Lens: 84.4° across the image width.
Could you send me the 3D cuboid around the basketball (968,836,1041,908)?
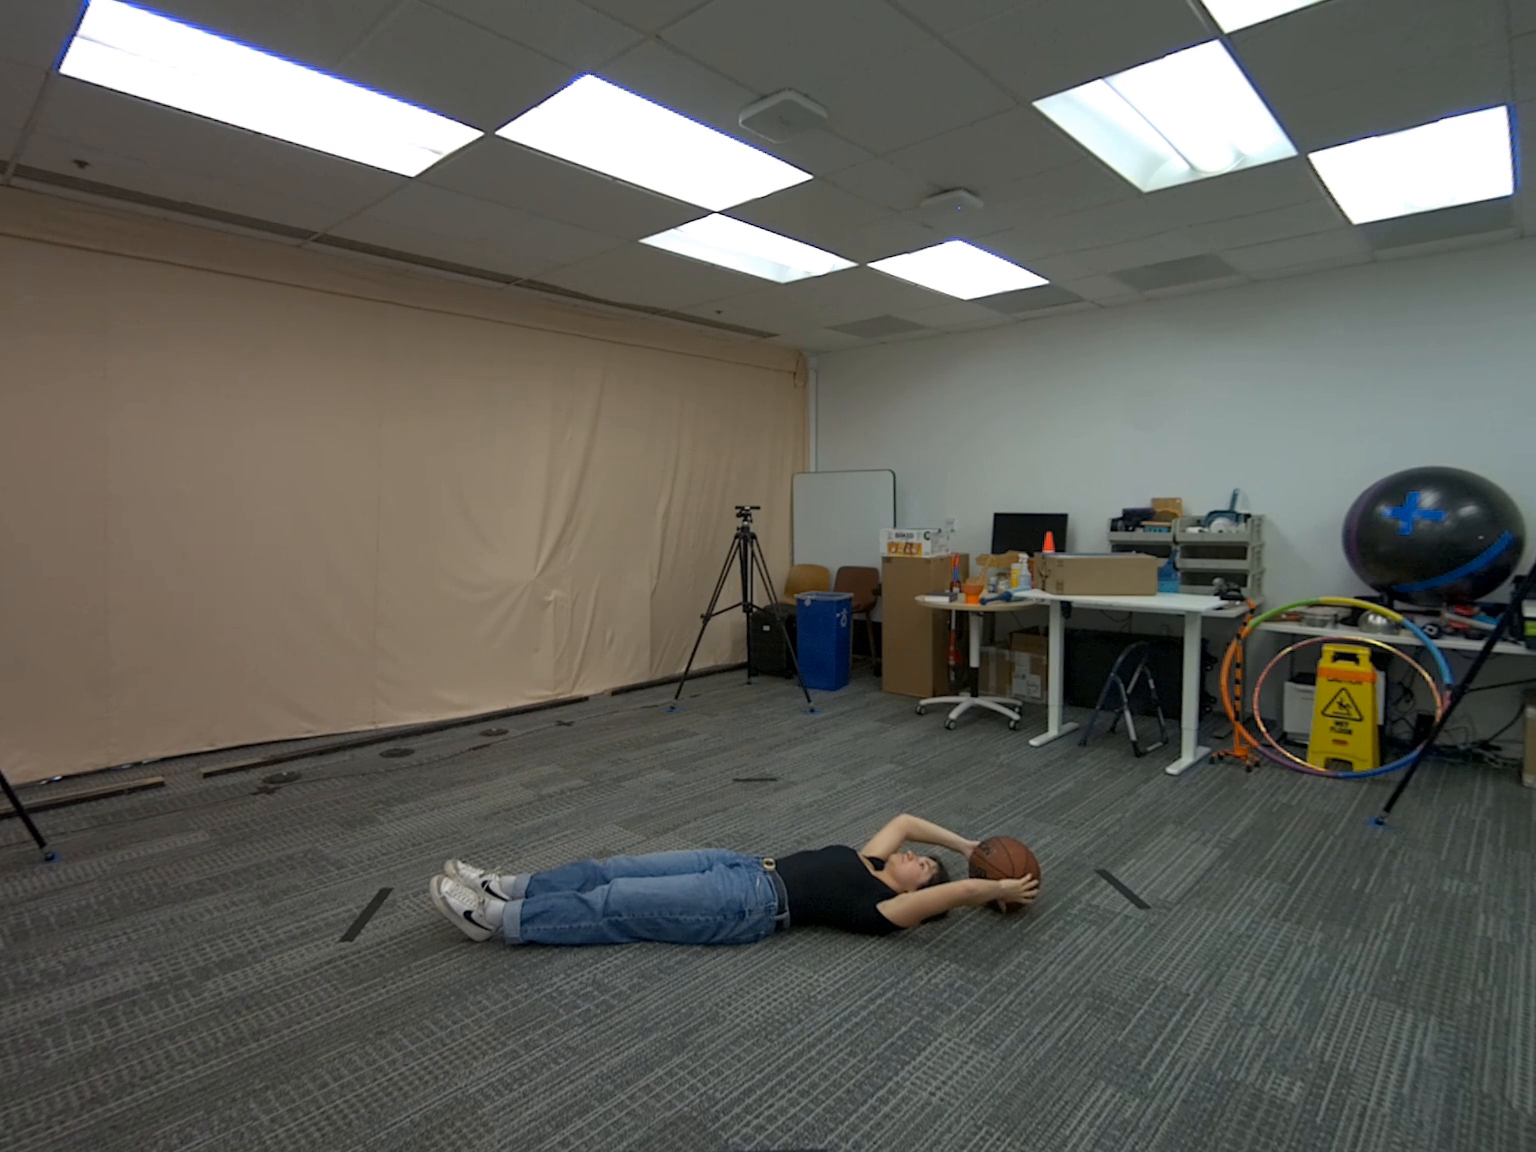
[{"bbox_3d":[0.823,1.018,2.915,0.236,0.235,0.237,0,4,-2],"label":"basketball"}]
